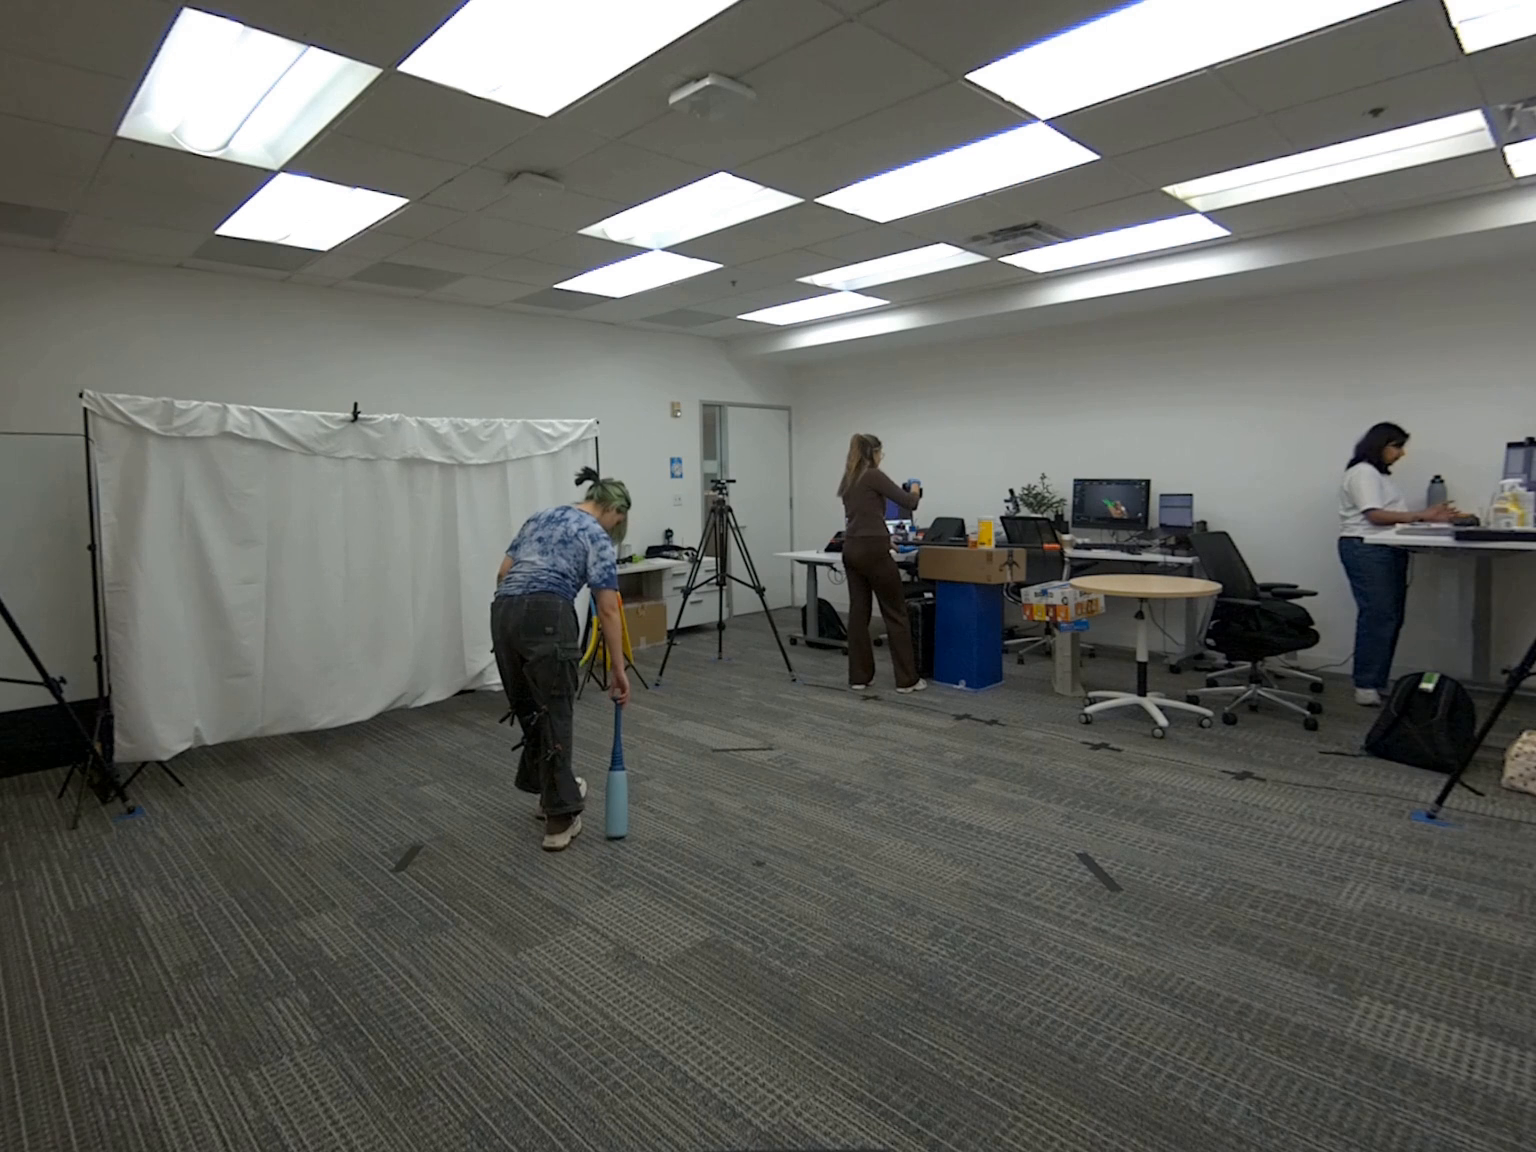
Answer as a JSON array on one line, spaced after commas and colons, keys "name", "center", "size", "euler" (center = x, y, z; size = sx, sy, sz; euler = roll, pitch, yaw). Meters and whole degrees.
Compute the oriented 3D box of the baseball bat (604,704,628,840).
[{"name": "baseball bat", "center": [-0.607, 0.756, 3.411], "size": [0.089, 0.549, 0.088], "euler": [-1, -12, -2]}]
